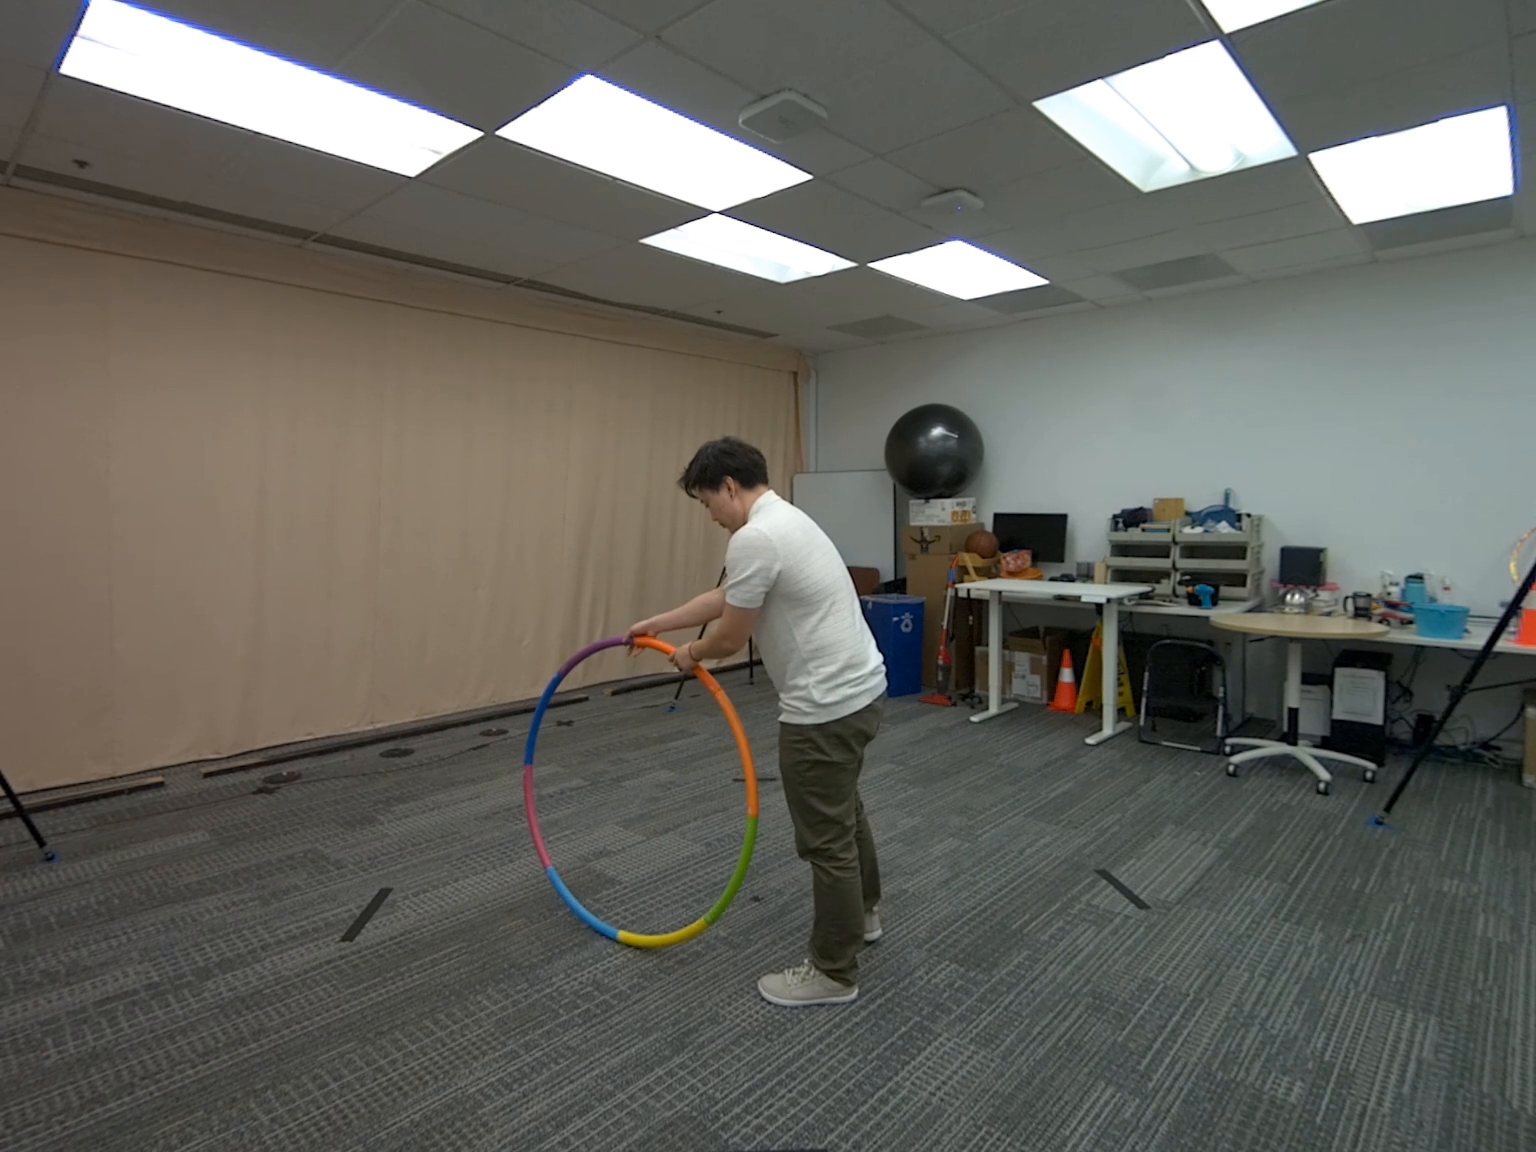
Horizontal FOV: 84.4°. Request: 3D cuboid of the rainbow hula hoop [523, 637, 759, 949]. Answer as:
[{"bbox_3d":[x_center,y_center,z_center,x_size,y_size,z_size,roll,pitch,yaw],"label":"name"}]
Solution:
[{"bbox_3d":[-0.453,0.683,2.733,1.009,0.980,0.034,2,-3,34],"label":"rainbow hula hoop"}]
